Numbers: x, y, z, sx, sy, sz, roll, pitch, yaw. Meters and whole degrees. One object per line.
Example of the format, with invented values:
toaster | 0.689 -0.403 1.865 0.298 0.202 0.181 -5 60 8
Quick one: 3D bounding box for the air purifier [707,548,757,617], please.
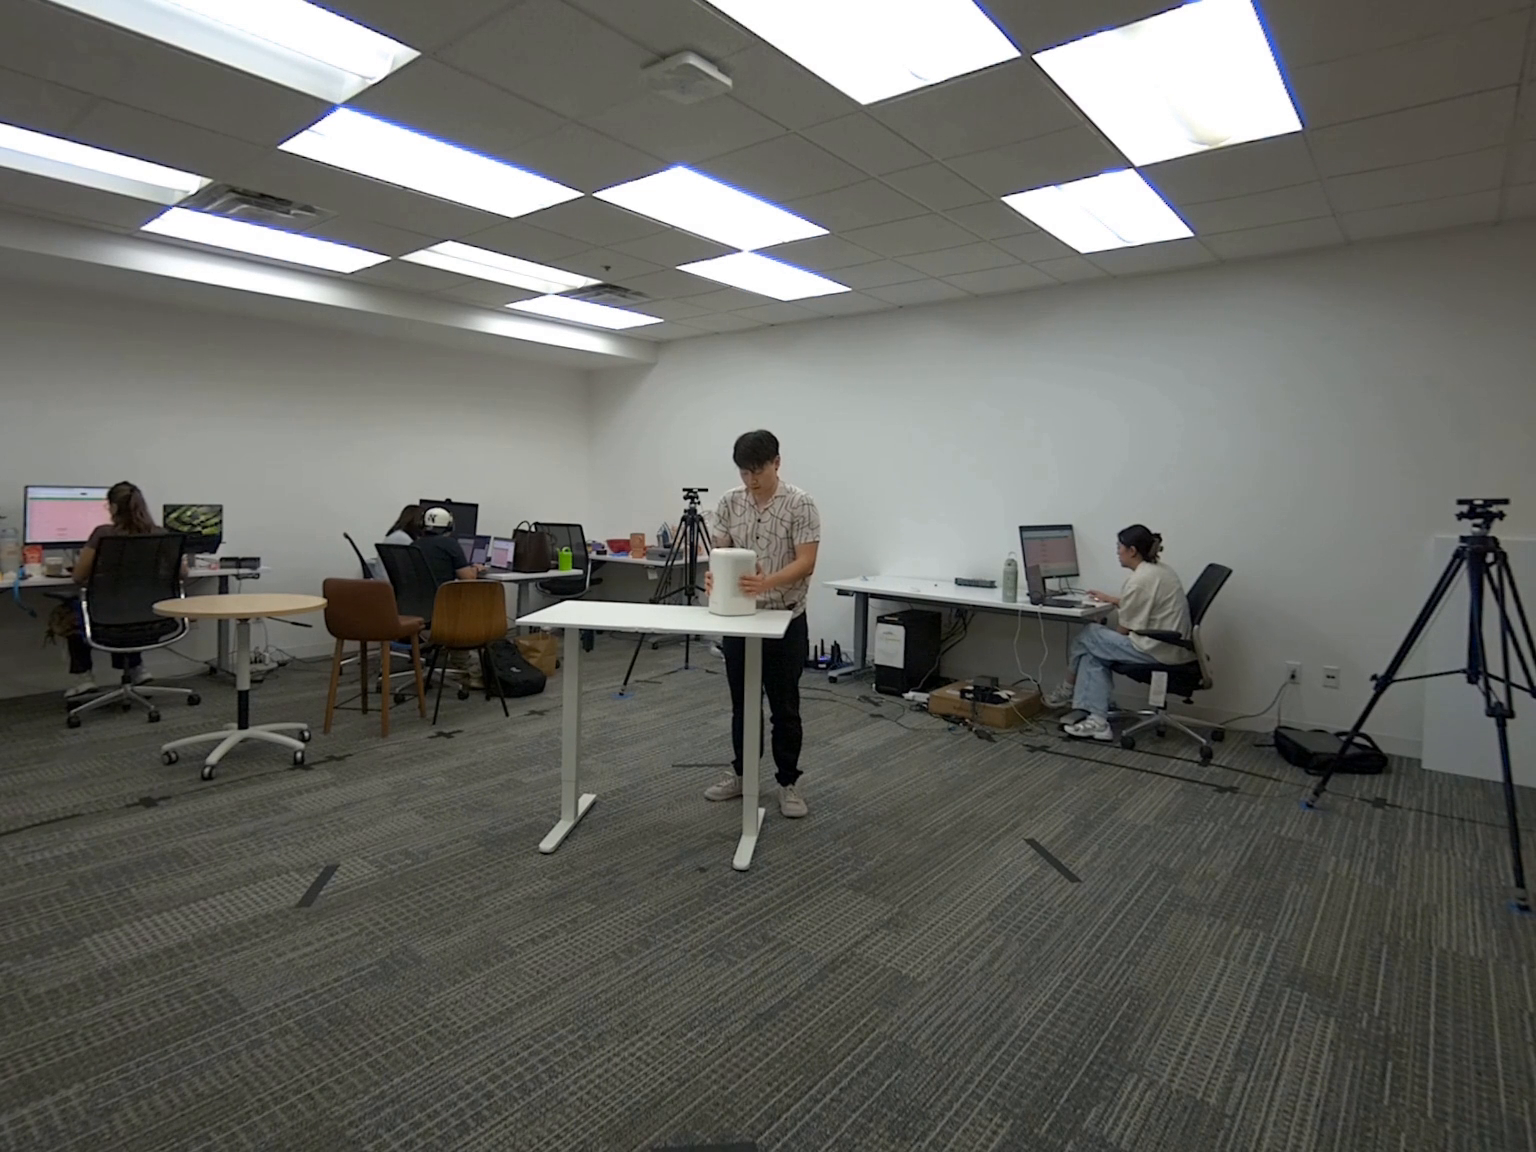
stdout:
air purifier | -0.163 0.017 3.506 0.168 0.265 0.175 0 3 -24
